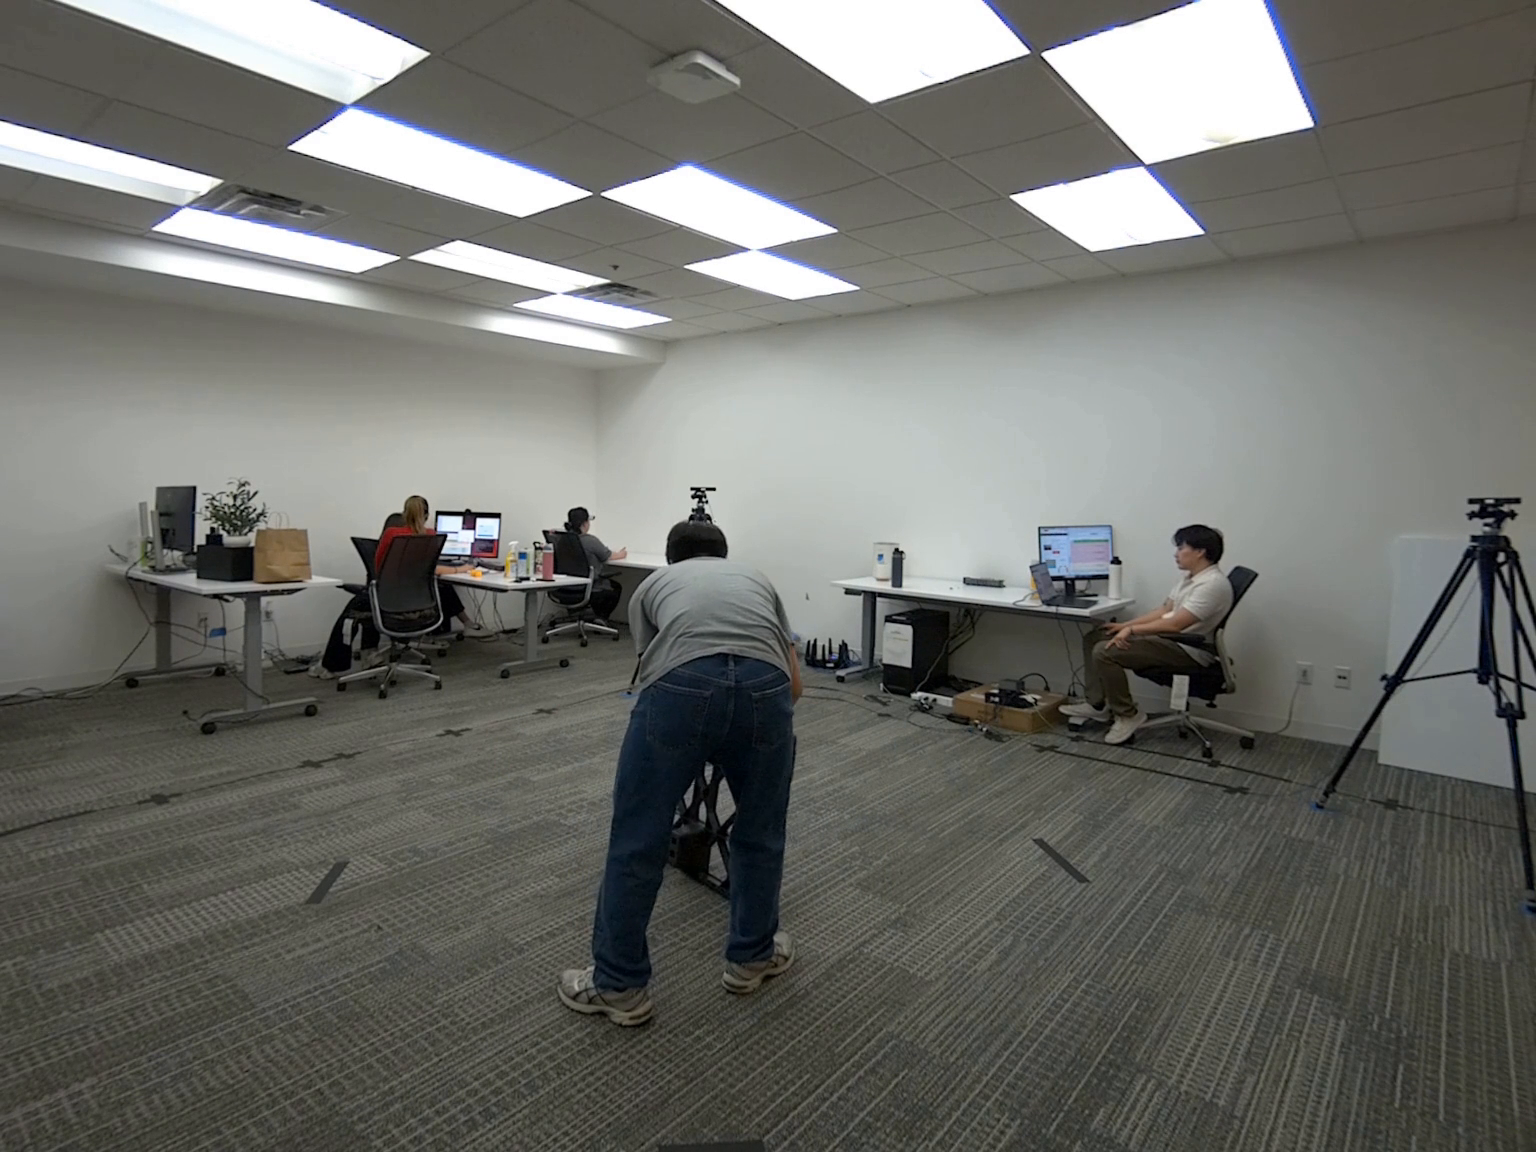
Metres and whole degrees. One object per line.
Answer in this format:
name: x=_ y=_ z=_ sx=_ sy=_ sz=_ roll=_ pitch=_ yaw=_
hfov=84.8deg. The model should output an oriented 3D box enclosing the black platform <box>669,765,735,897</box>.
black platform: x=-0.267 y=0.775 z=3.014 sx=0.138 sy=0.607 sz=0.833 roll=10 pitch=-3 yaw=-40
